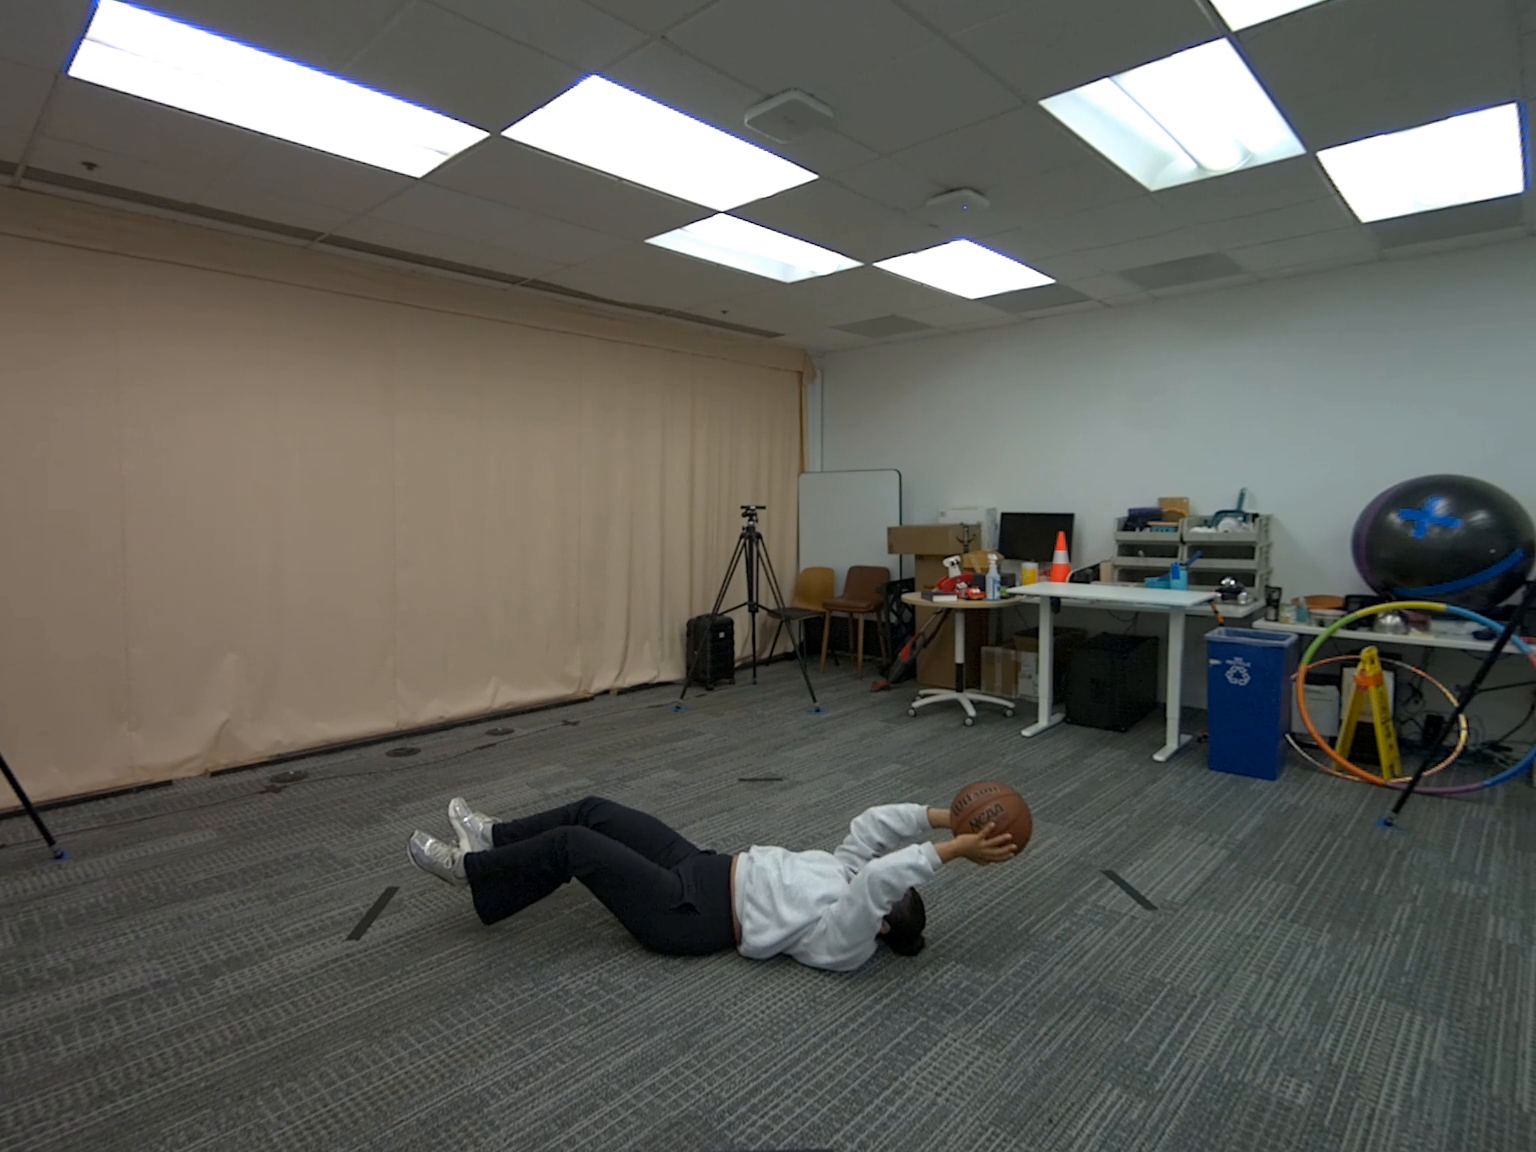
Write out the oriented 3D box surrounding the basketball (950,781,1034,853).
[{"bbox_3d":[0.667,0.735,2.549,0.235,0.235,0.237,1,4,-2],"label":"basketball"}]
